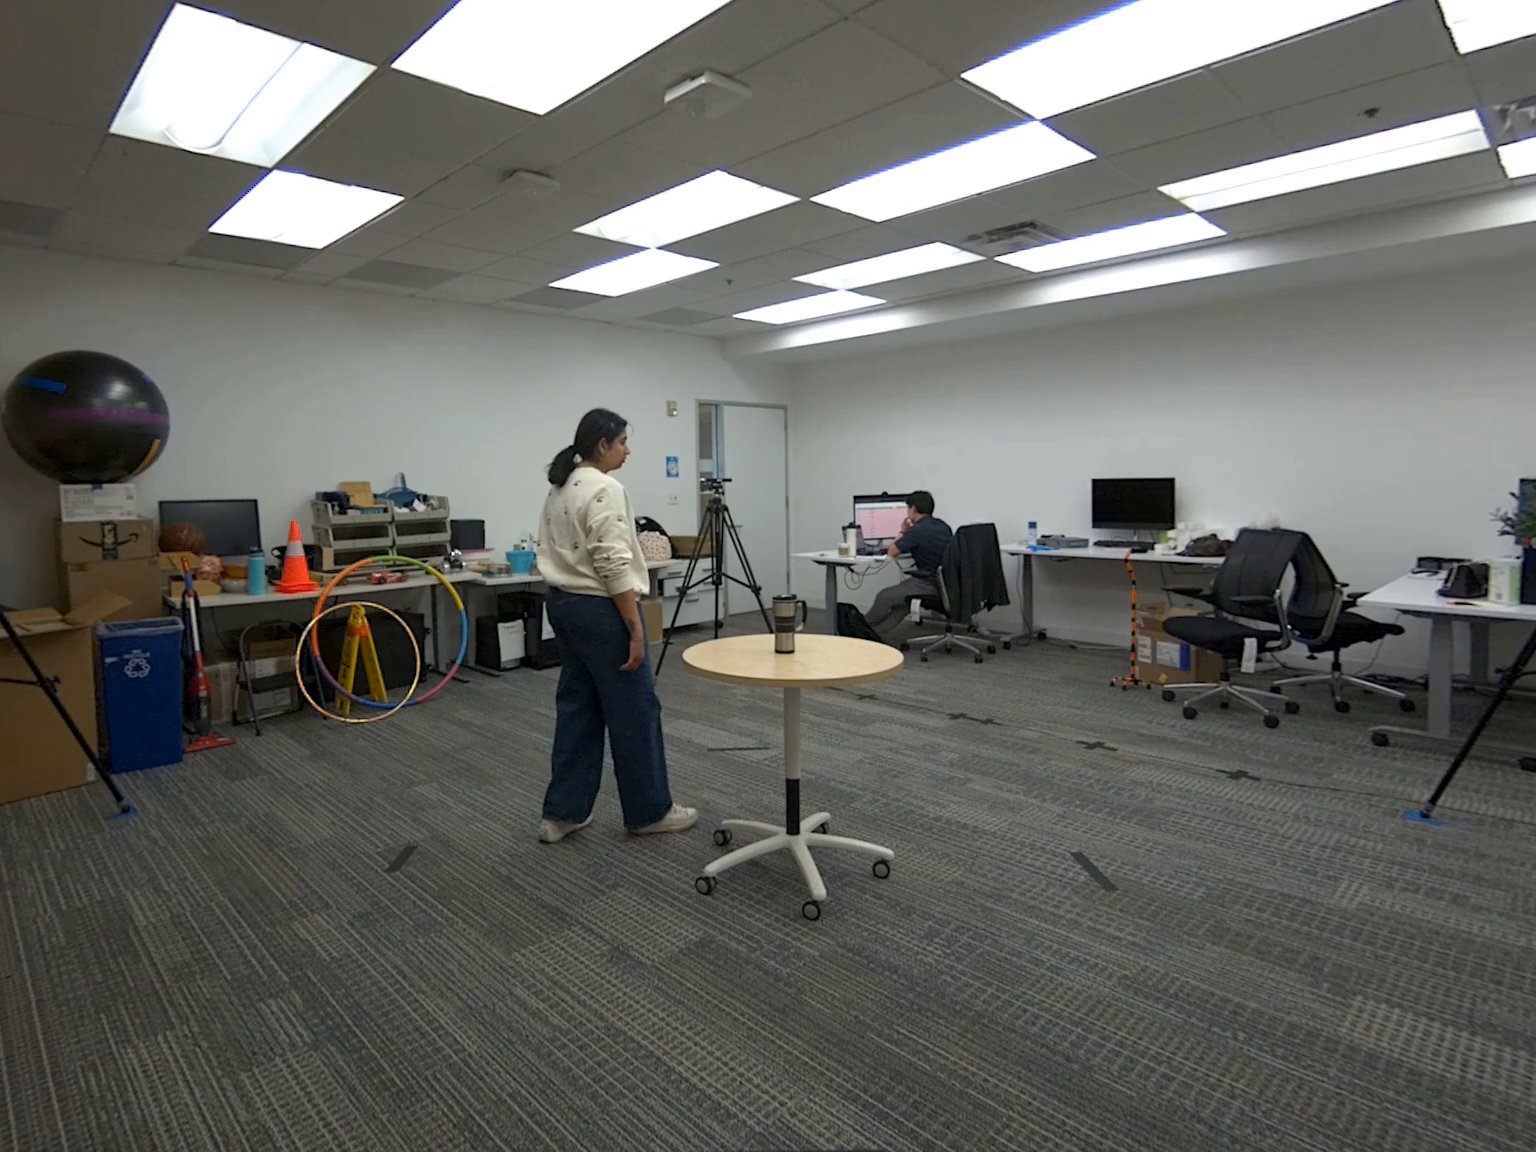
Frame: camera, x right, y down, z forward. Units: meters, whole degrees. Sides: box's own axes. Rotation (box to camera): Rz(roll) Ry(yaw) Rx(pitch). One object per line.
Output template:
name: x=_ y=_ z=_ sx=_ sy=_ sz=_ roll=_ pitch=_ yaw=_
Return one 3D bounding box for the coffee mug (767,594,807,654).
coffee mug: x=0.078 y=0.172 z=2.995 sx=0.125 sy=0.203 sz=0.085 roll=-1 pitch=1 yaw=37
